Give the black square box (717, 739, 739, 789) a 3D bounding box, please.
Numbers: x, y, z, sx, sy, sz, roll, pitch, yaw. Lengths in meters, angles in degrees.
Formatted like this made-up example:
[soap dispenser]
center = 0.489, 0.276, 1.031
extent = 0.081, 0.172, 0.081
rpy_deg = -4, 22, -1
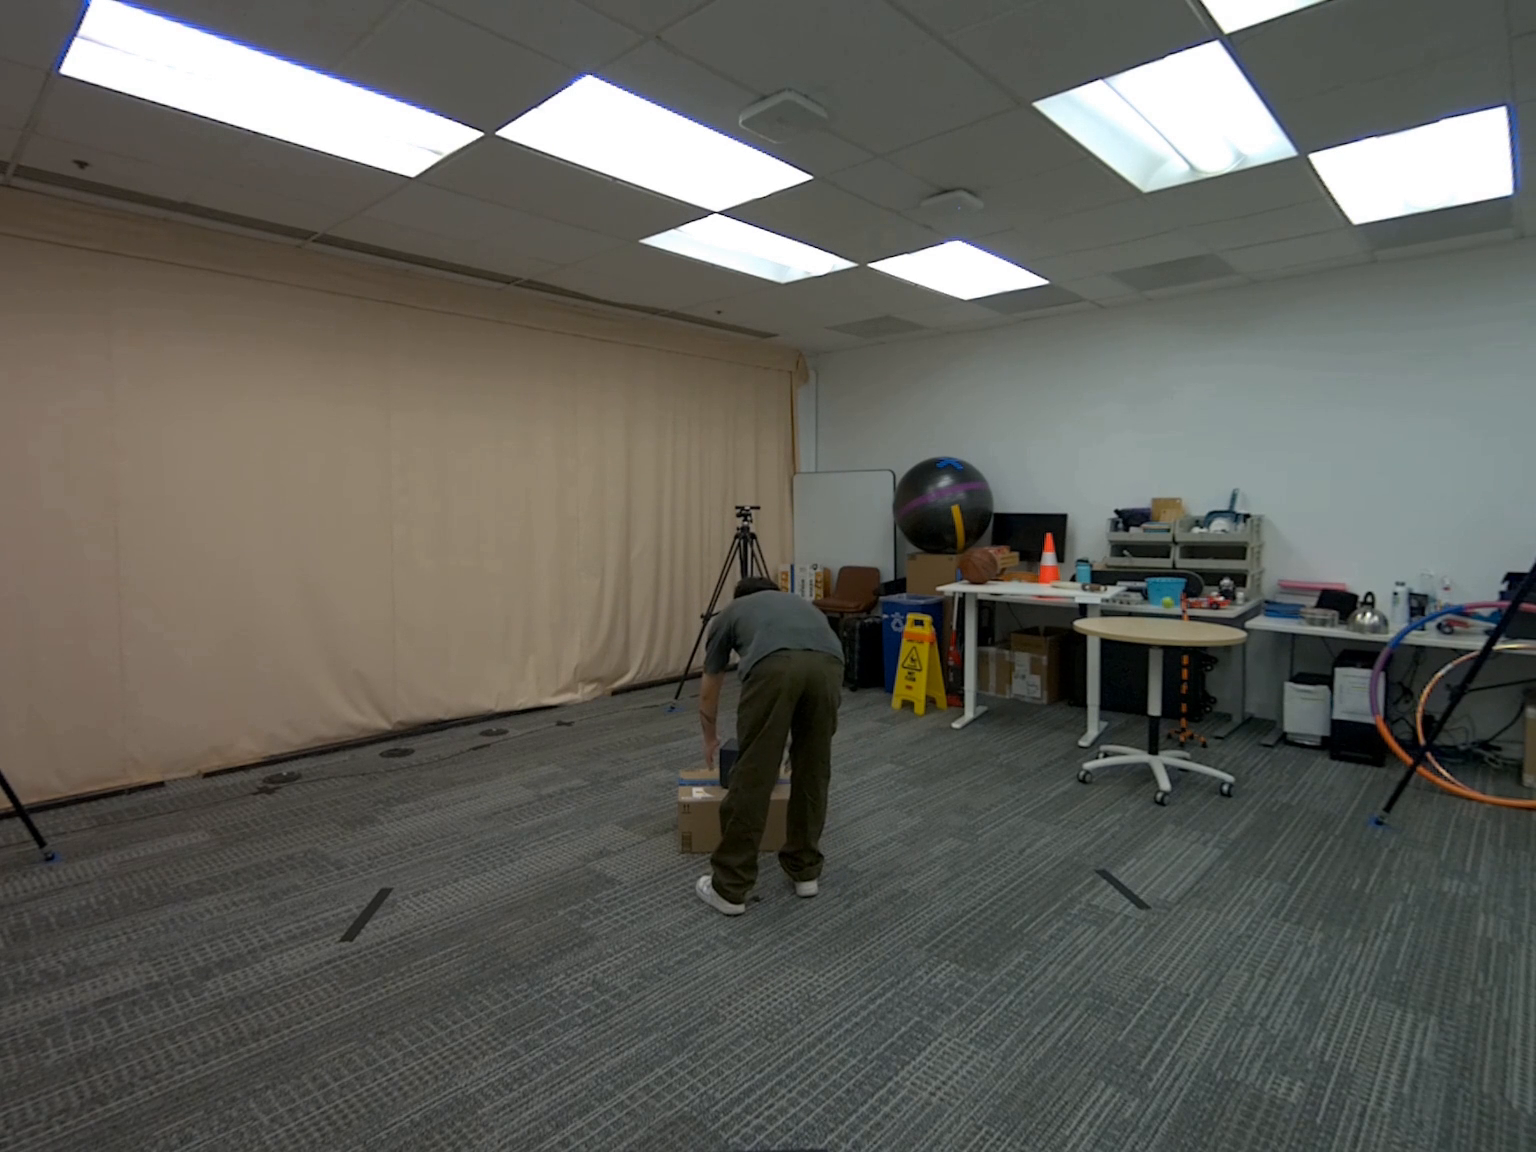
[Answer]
[black square box]
center = -0.075, 0.795, 3.581
extent = 0.230, 0.156, 0.215
rpy_deg = 1, 2, 10
